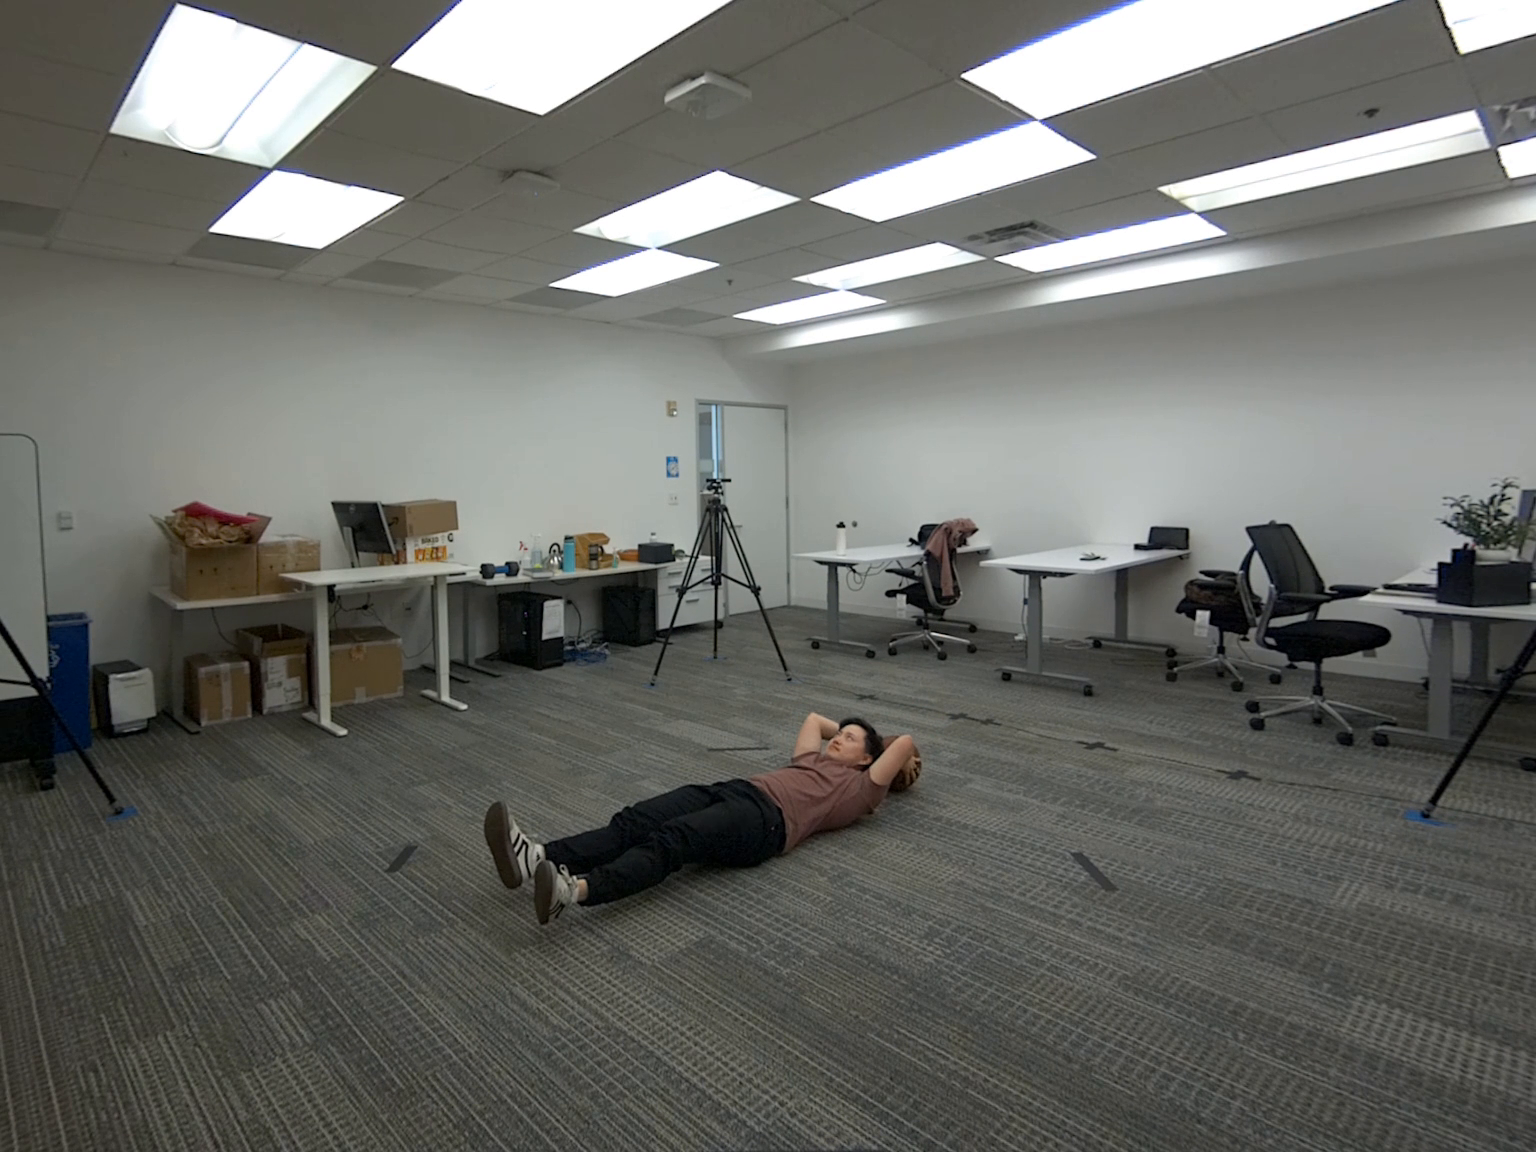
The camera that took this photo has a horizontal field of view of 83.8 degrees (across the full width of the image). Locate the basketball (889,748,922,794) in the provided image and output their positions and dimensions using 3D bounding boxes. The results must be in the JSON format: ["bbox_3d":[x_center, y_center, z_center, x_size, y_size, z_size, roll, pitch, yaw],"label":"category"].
[{"bbox_3d":[0.562,0.832,3.811,0.236,0.235,0.237,-2,5,-2],"label":"basketball"}]
